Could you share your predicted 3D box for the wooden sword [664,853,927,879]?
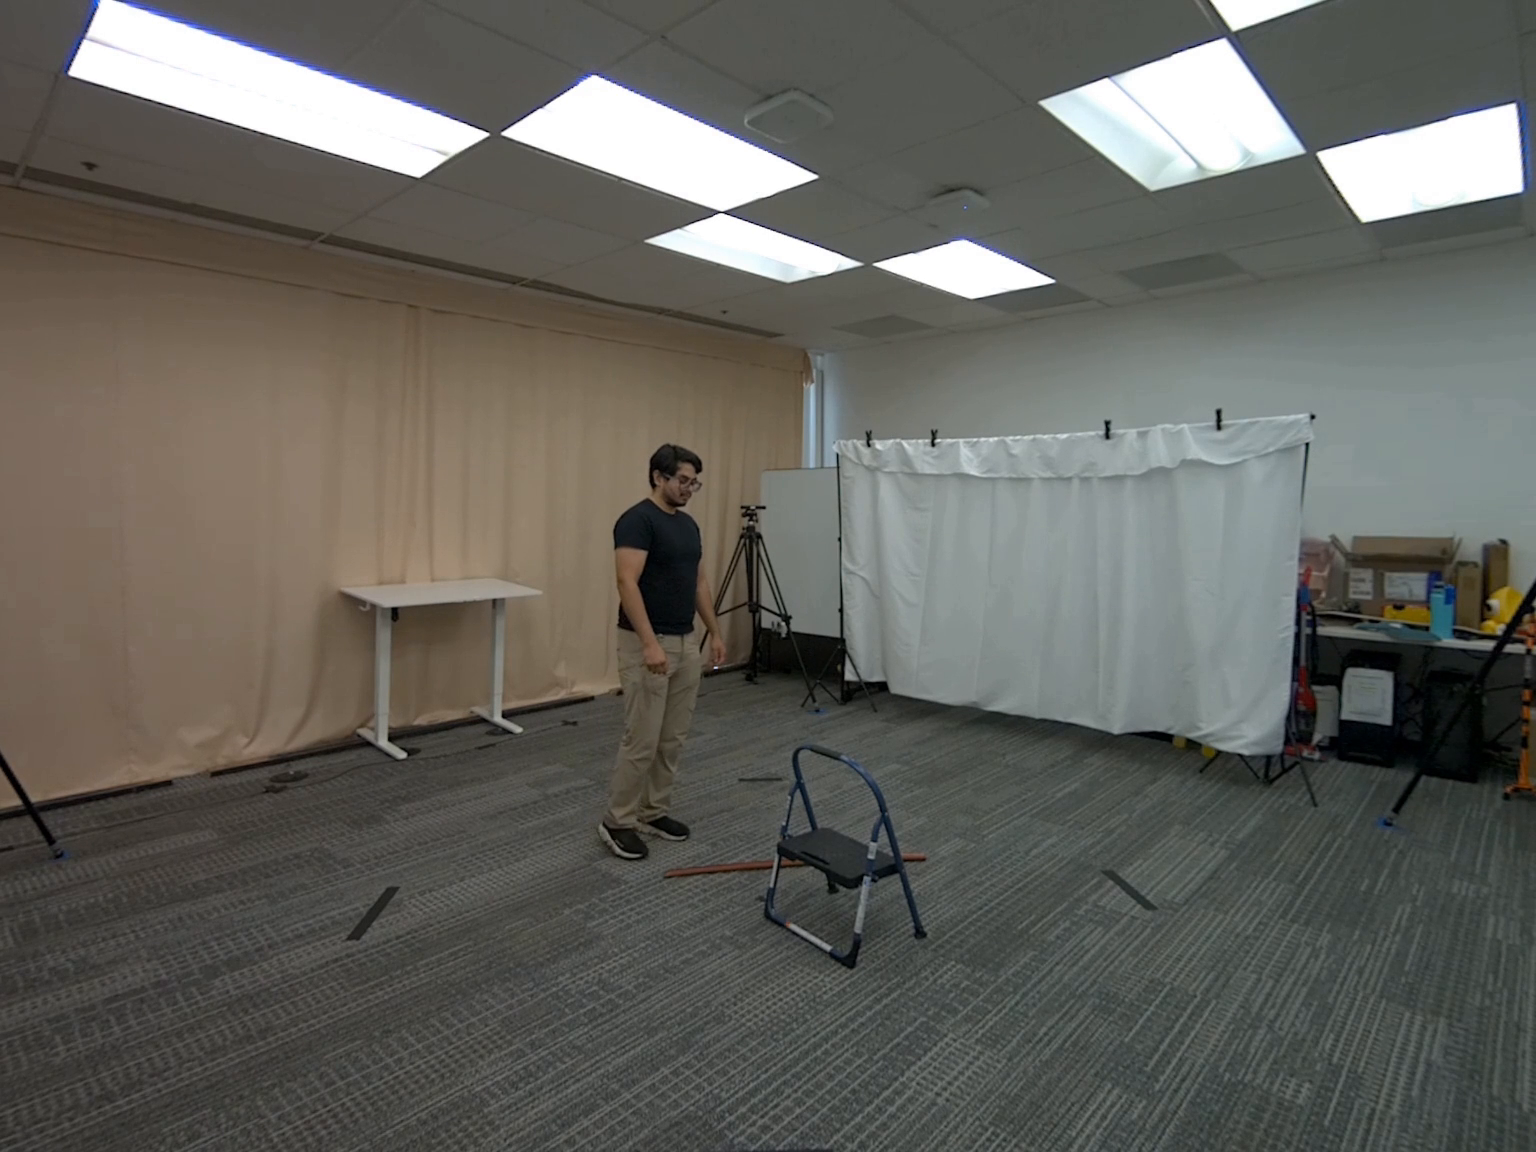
[{"bbox_3d":[0.107,1.099,3.240,1.016,0.024,0.052,-1,17,-7],"label":"wooden sword"}]
